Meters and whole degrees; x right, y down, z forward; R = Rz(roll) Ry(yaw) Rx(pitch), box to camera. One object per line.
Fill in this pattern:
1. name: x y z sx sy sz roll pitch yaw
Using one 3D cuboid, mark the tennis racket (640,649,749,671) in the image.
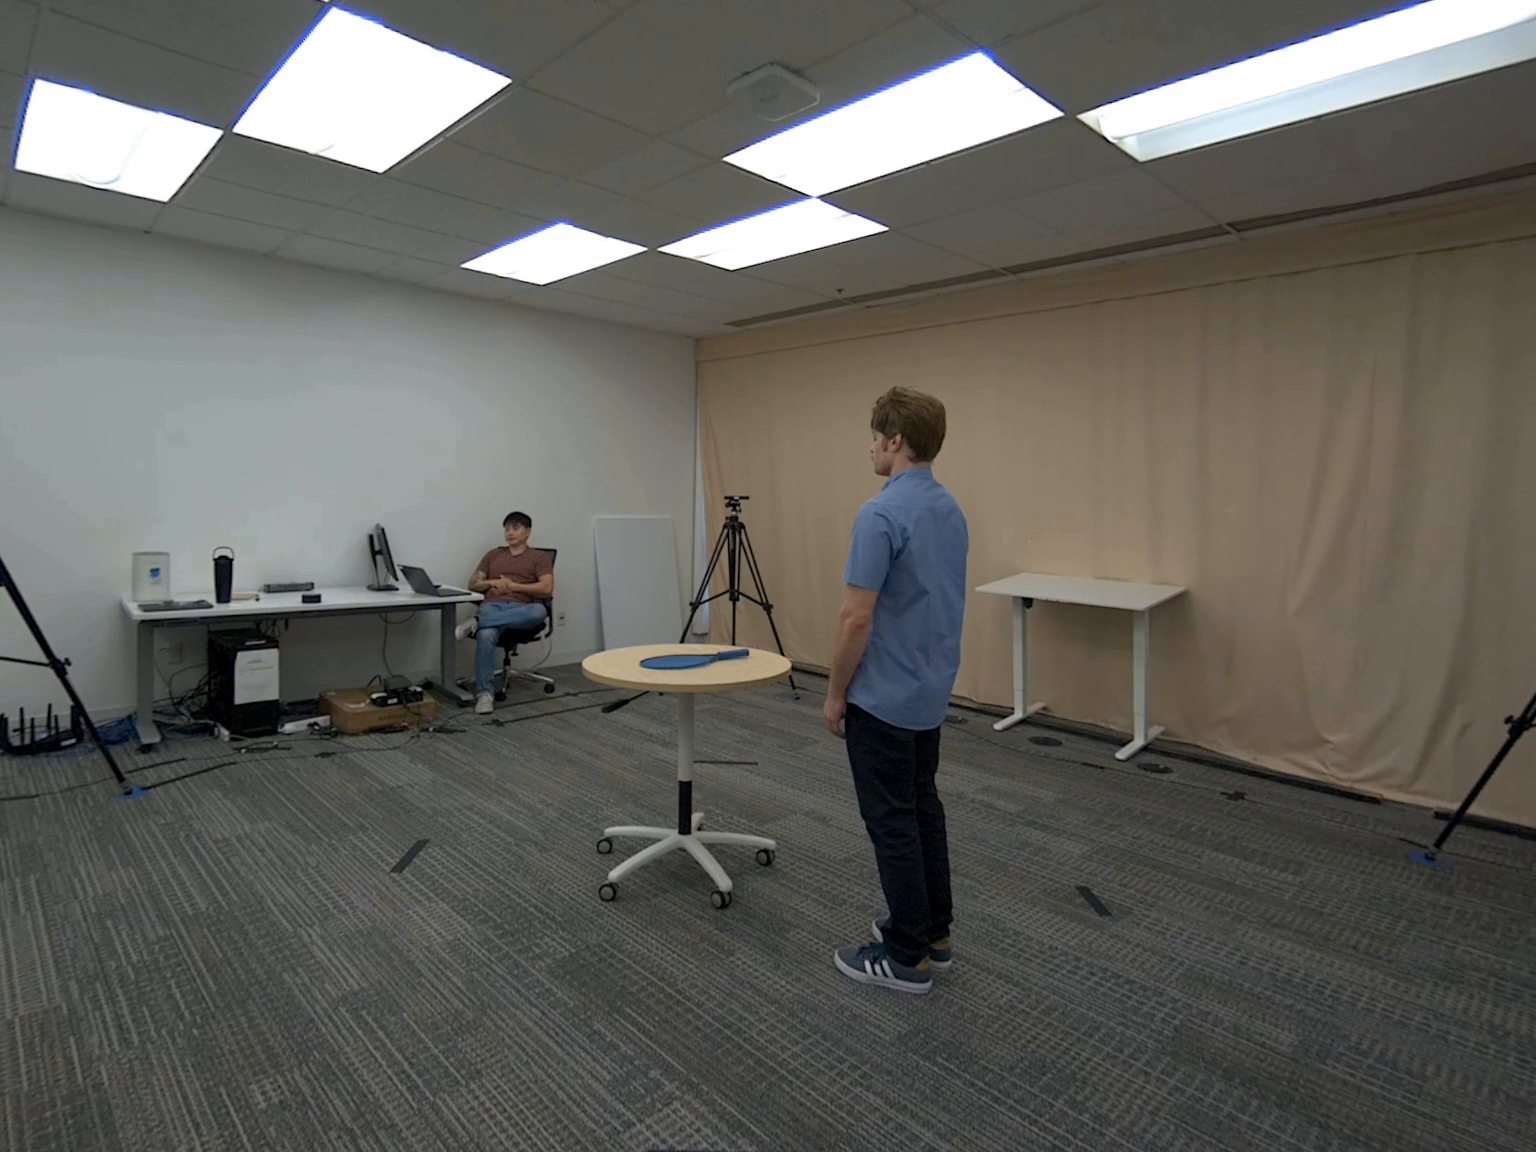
1. tennis racket: -0.273 0.311 3.091 0.425 0.031 0.218 -4 6 -29
